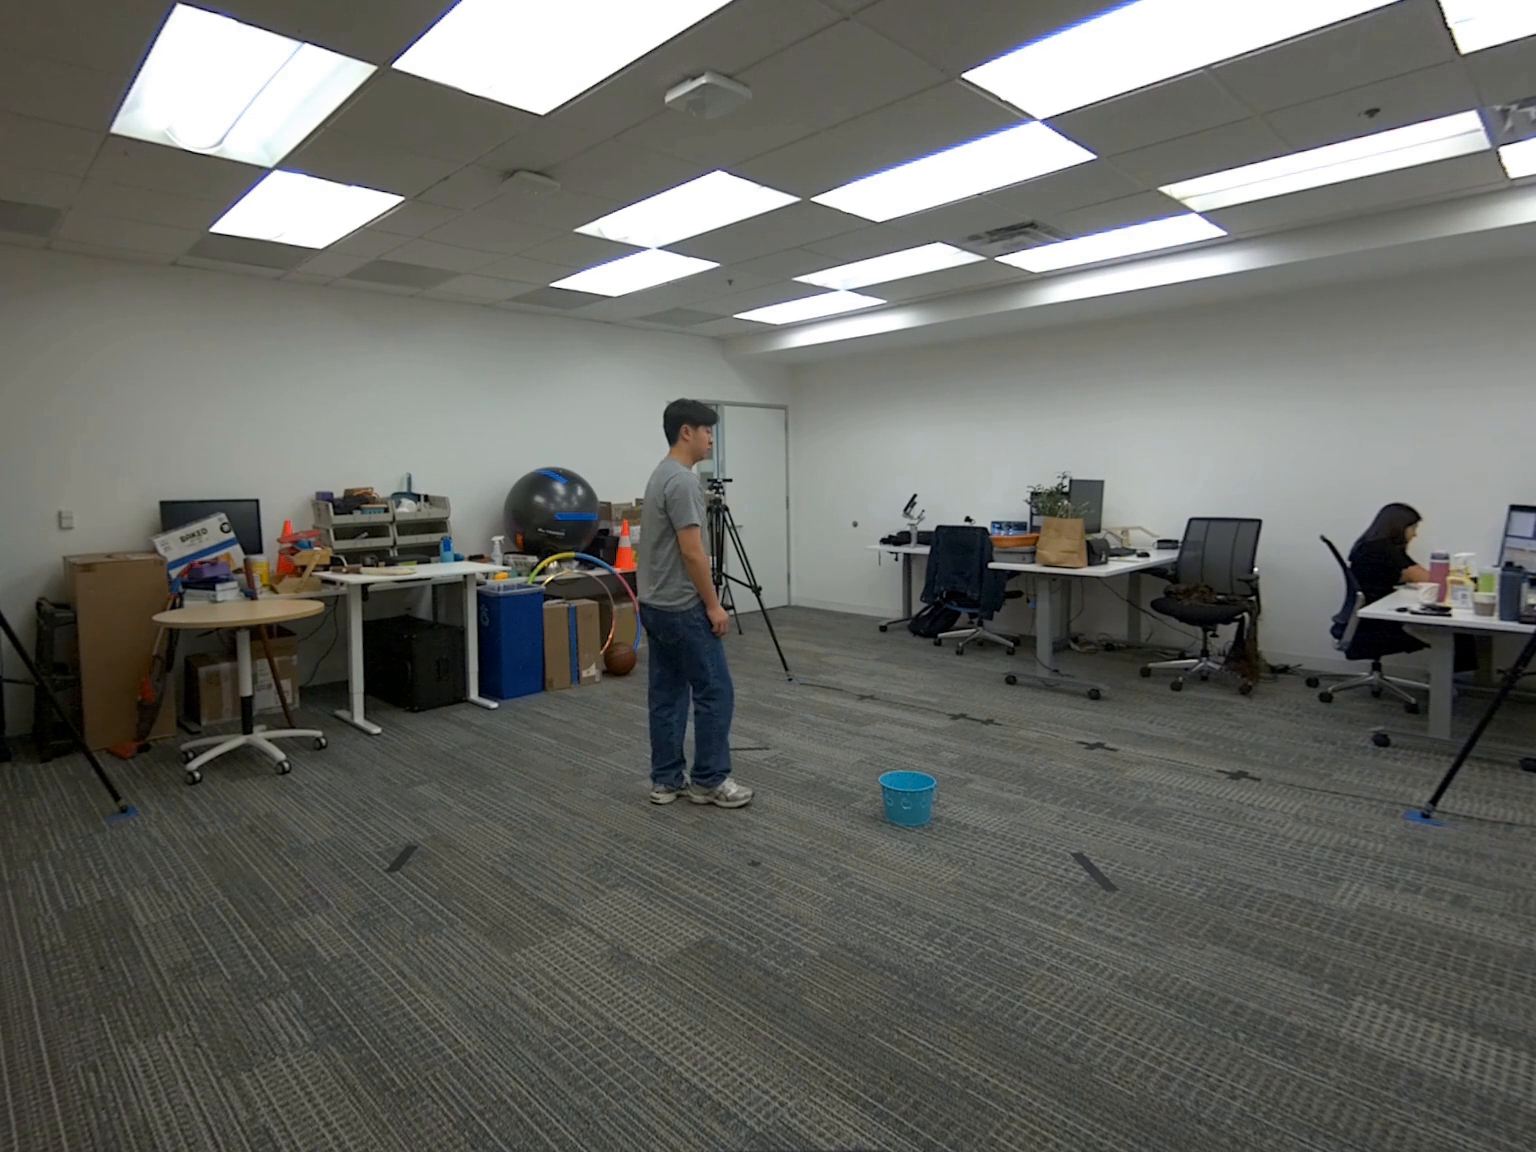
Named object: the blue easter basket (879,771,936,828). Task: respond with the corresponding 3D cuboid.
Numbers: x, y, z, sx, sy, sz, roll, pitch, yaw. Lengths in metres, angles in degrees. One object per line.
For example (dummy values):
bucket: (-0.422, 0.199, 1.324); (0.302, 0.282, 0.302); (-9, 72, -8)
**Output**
blue easter basket: (0.579, 0.910, 3.510); (0.243, 0.155, 0.245); (-2, 5, -2)
